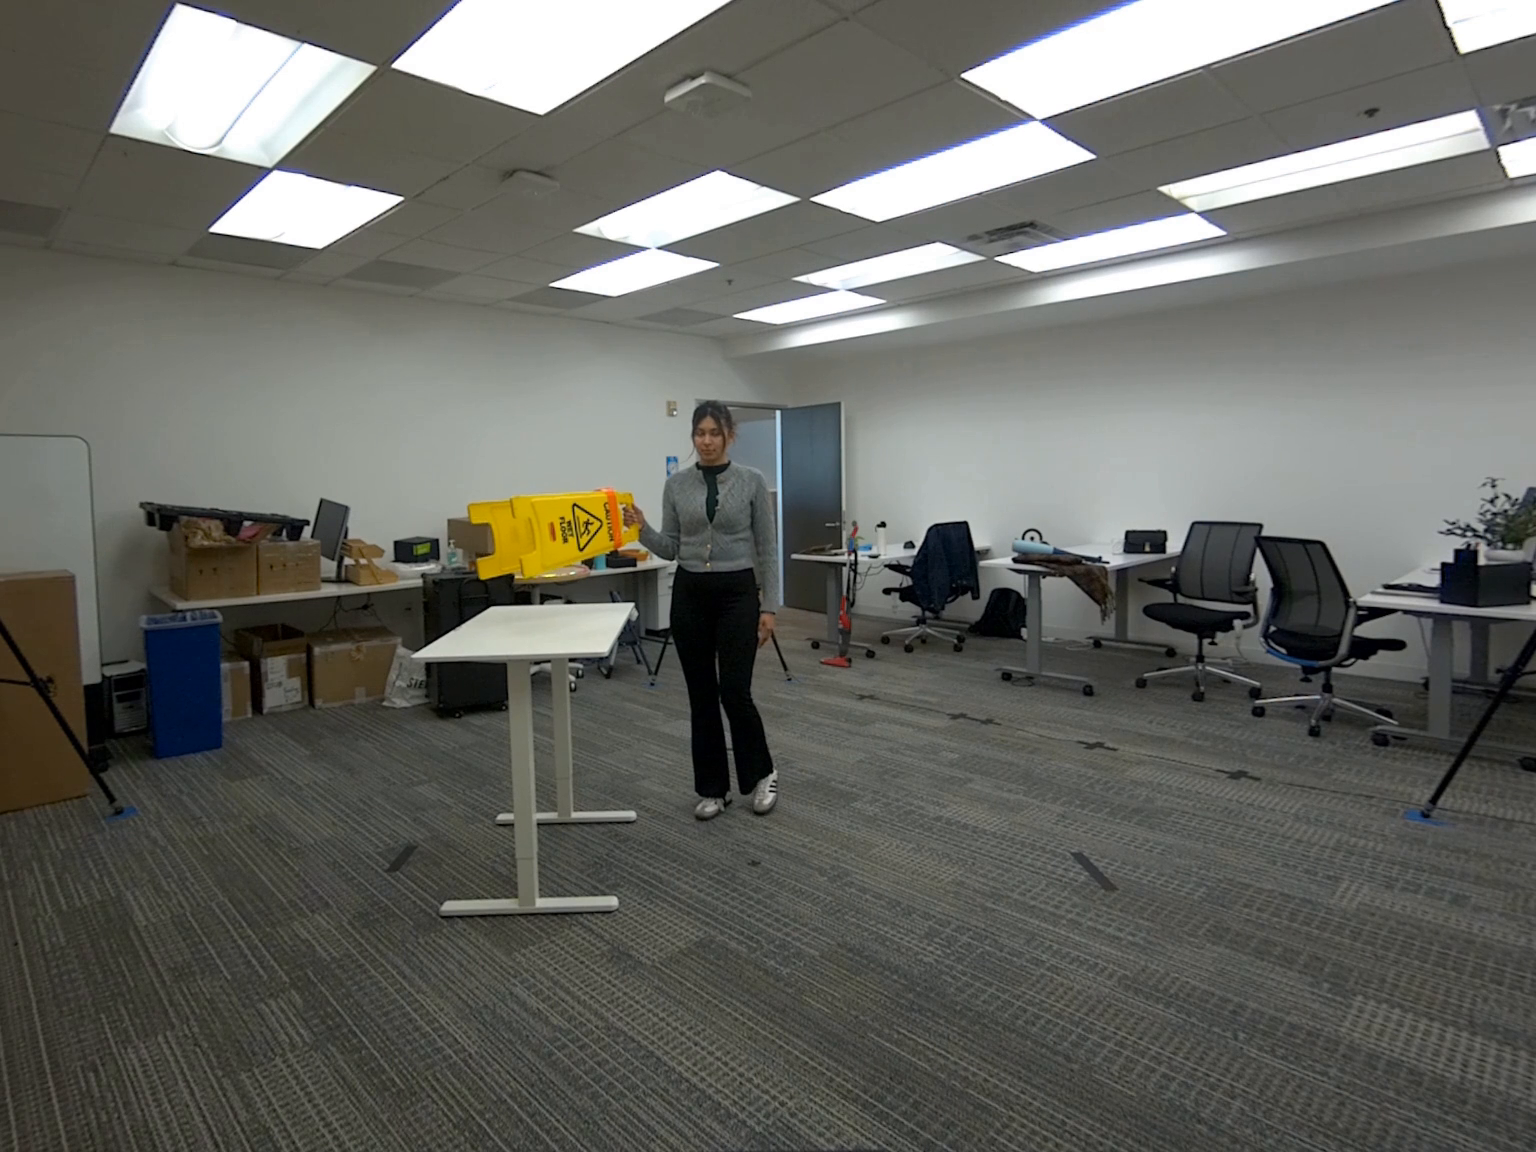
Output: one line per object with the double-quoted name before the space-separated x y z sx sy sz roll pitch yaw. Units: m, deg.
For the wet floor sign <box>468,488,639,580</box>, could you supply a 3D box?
"wet floor sign" -0.739 -0.180 3.185 0.298 0.281 0.632 -3 9 43
